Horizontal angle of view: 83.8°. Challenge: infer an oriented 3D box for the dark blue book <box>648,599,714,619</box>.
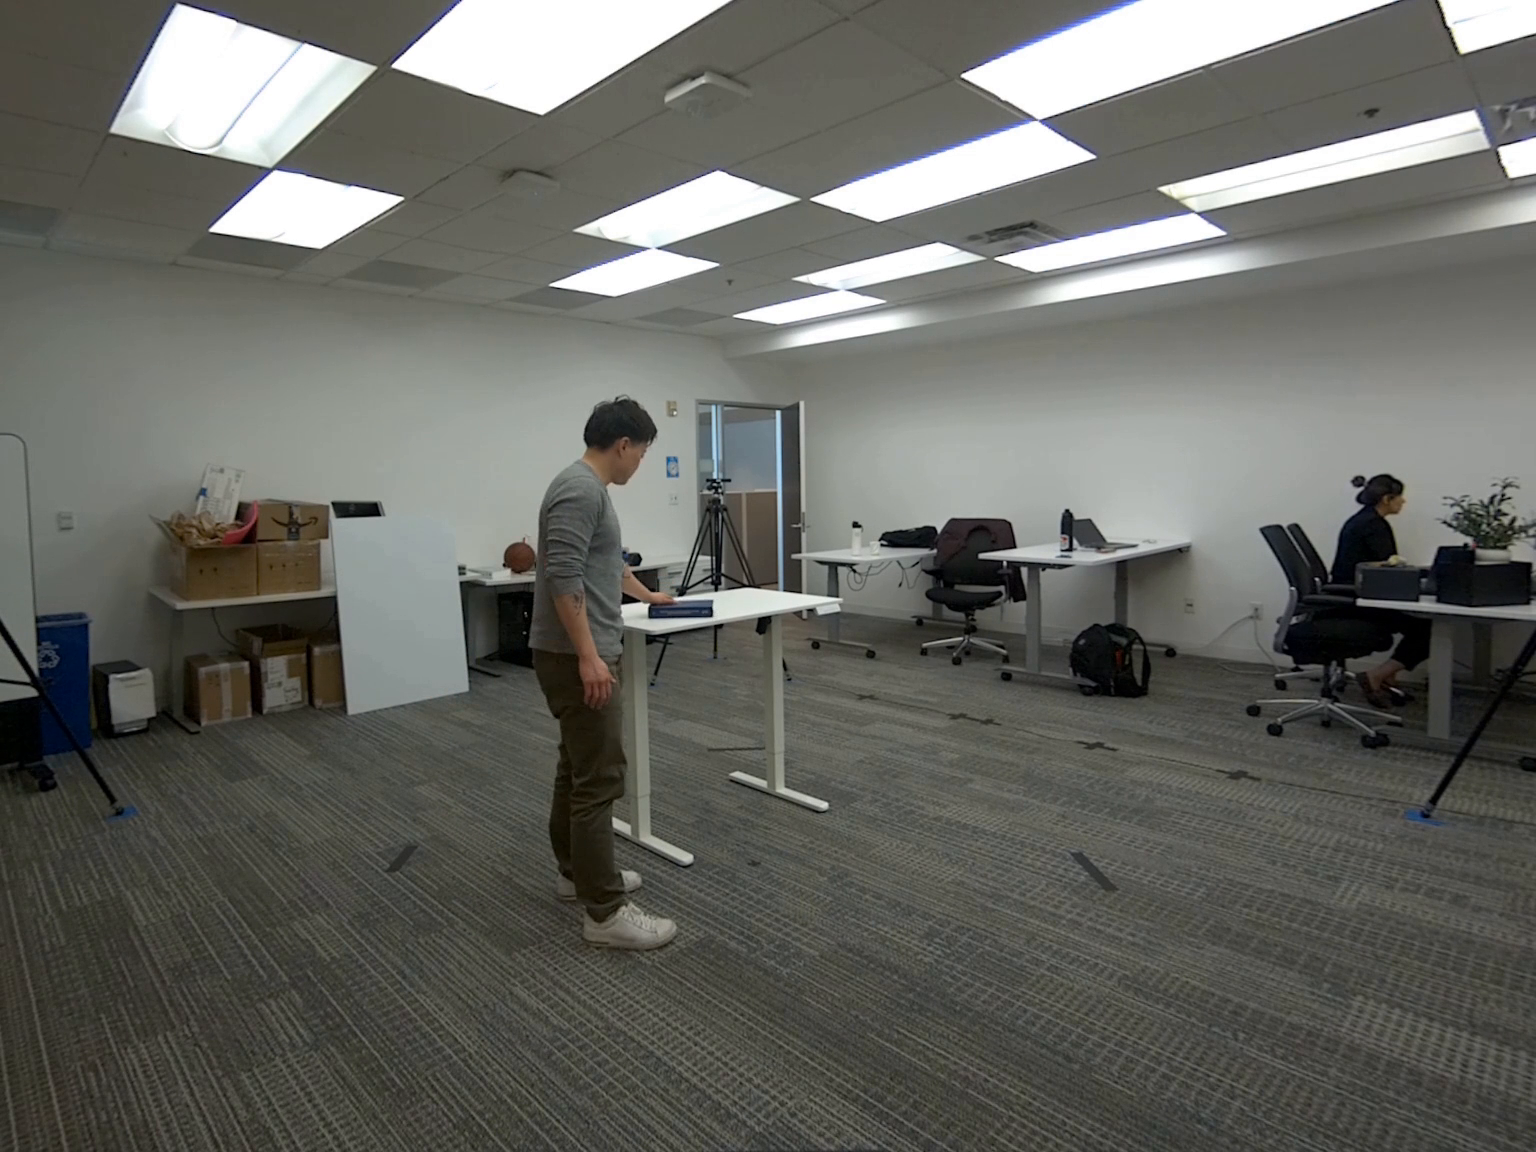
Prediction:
[{"bbox_3d":[-0.334,0.129,3.276,0.245,0.045,0.164,-2,7,1],"label":"dark blue book"}]
